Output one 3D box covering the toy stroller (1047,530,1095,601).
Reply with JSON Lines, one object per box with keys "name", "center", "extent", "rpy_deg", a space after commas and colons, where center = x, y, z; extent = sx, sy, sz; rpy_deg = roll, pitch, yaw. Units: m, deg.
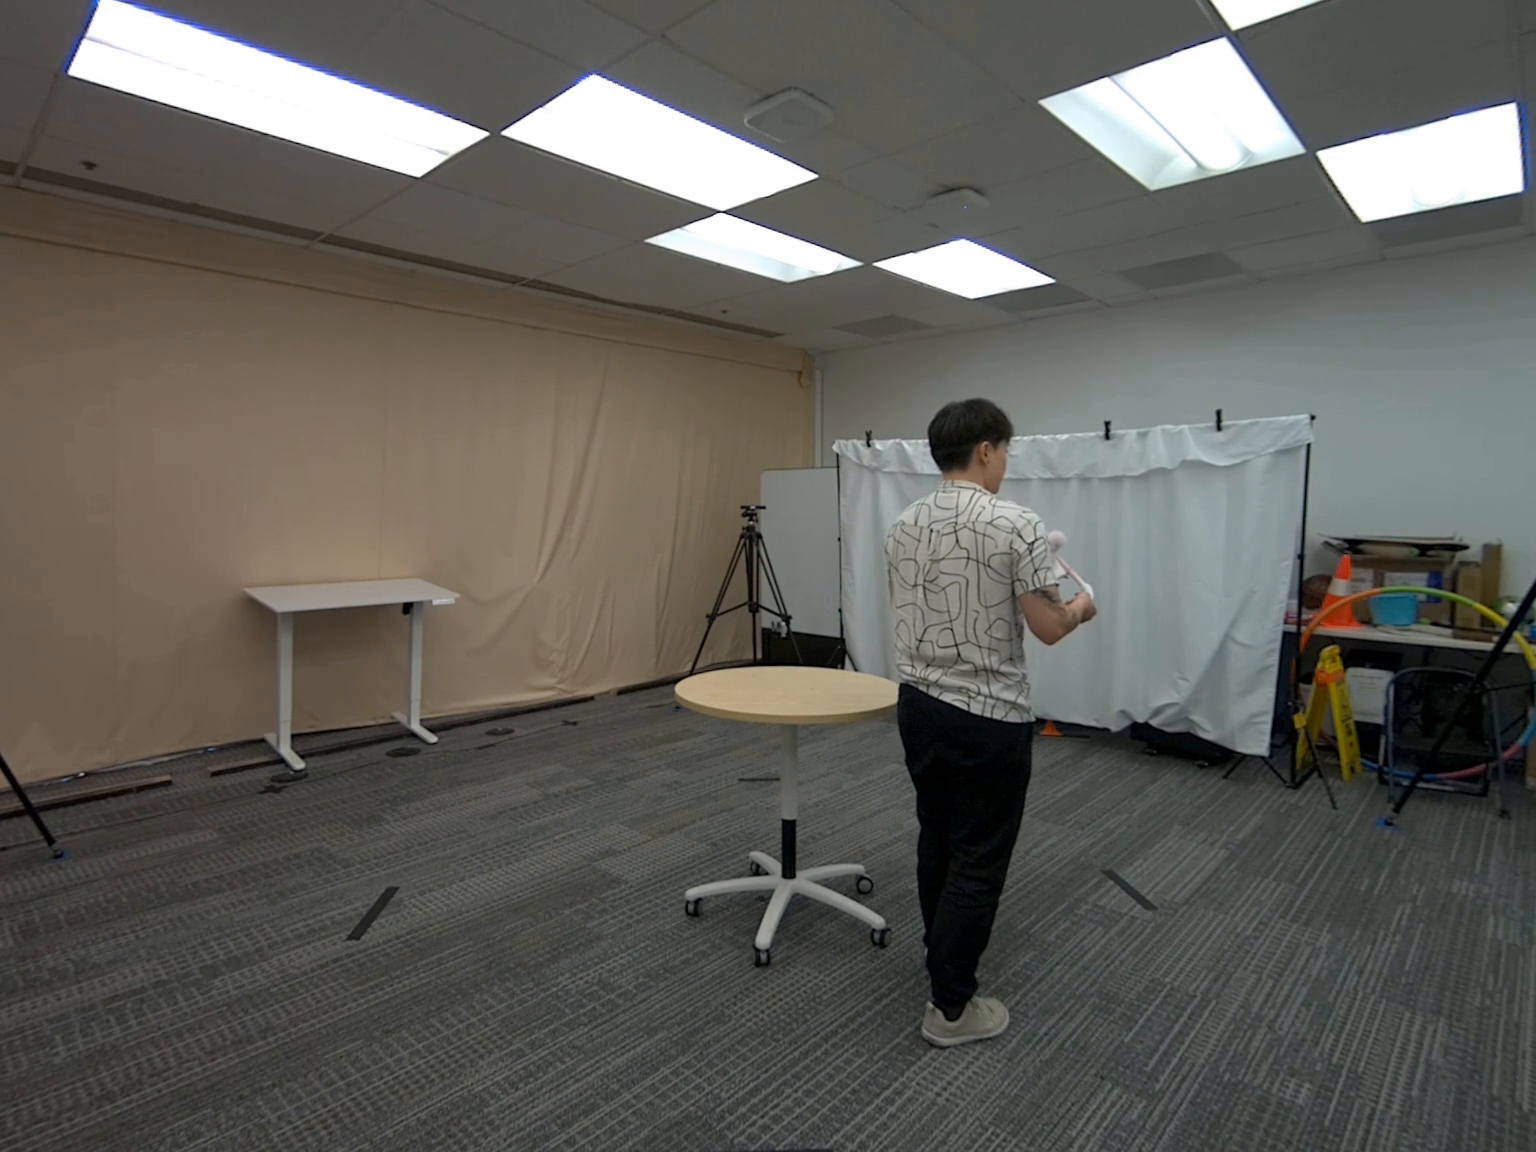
{"name": "toy stroller", "center": [0.734, -0.071, 2.572], "extent": [0.278, 0.343, 0.539], "rpy_deg": [-12, -4, -13]}
